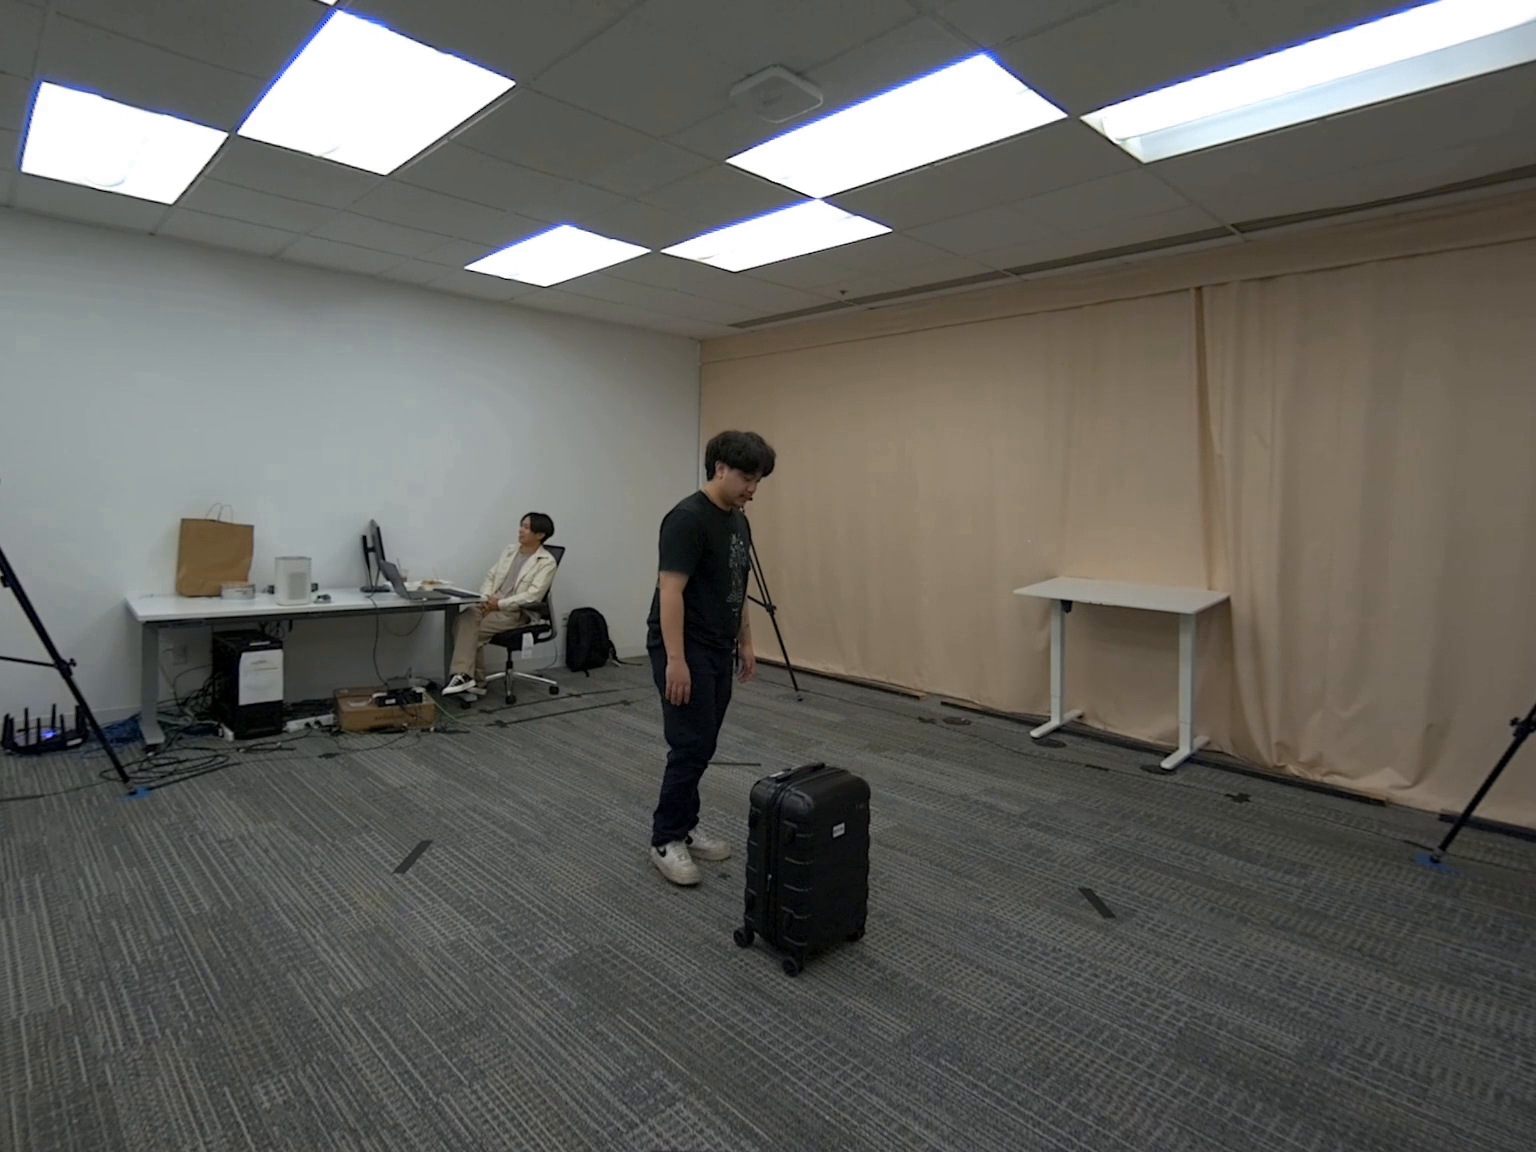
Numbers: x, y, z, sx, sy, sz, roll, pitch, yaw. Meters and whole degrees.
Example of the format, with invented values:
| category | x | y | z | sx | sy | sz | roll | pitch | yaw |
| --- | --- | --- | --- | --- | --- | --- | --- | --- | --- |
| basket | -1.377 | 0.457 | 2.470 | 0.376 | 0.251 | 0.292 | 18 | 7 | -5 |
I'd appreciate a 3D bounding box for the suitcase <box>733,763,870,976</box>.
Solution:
| category | x | y | z | sx | sy | sz | roll | pitch | yaw |
| --- | --- | --- | --- | --- | --- | --- | --- | --- | --- |
| suitcase | 0.121 | 0.881 | 2.623 | 0.255 | 0.547 | 0.367 | 8 | 7 | 44 |
